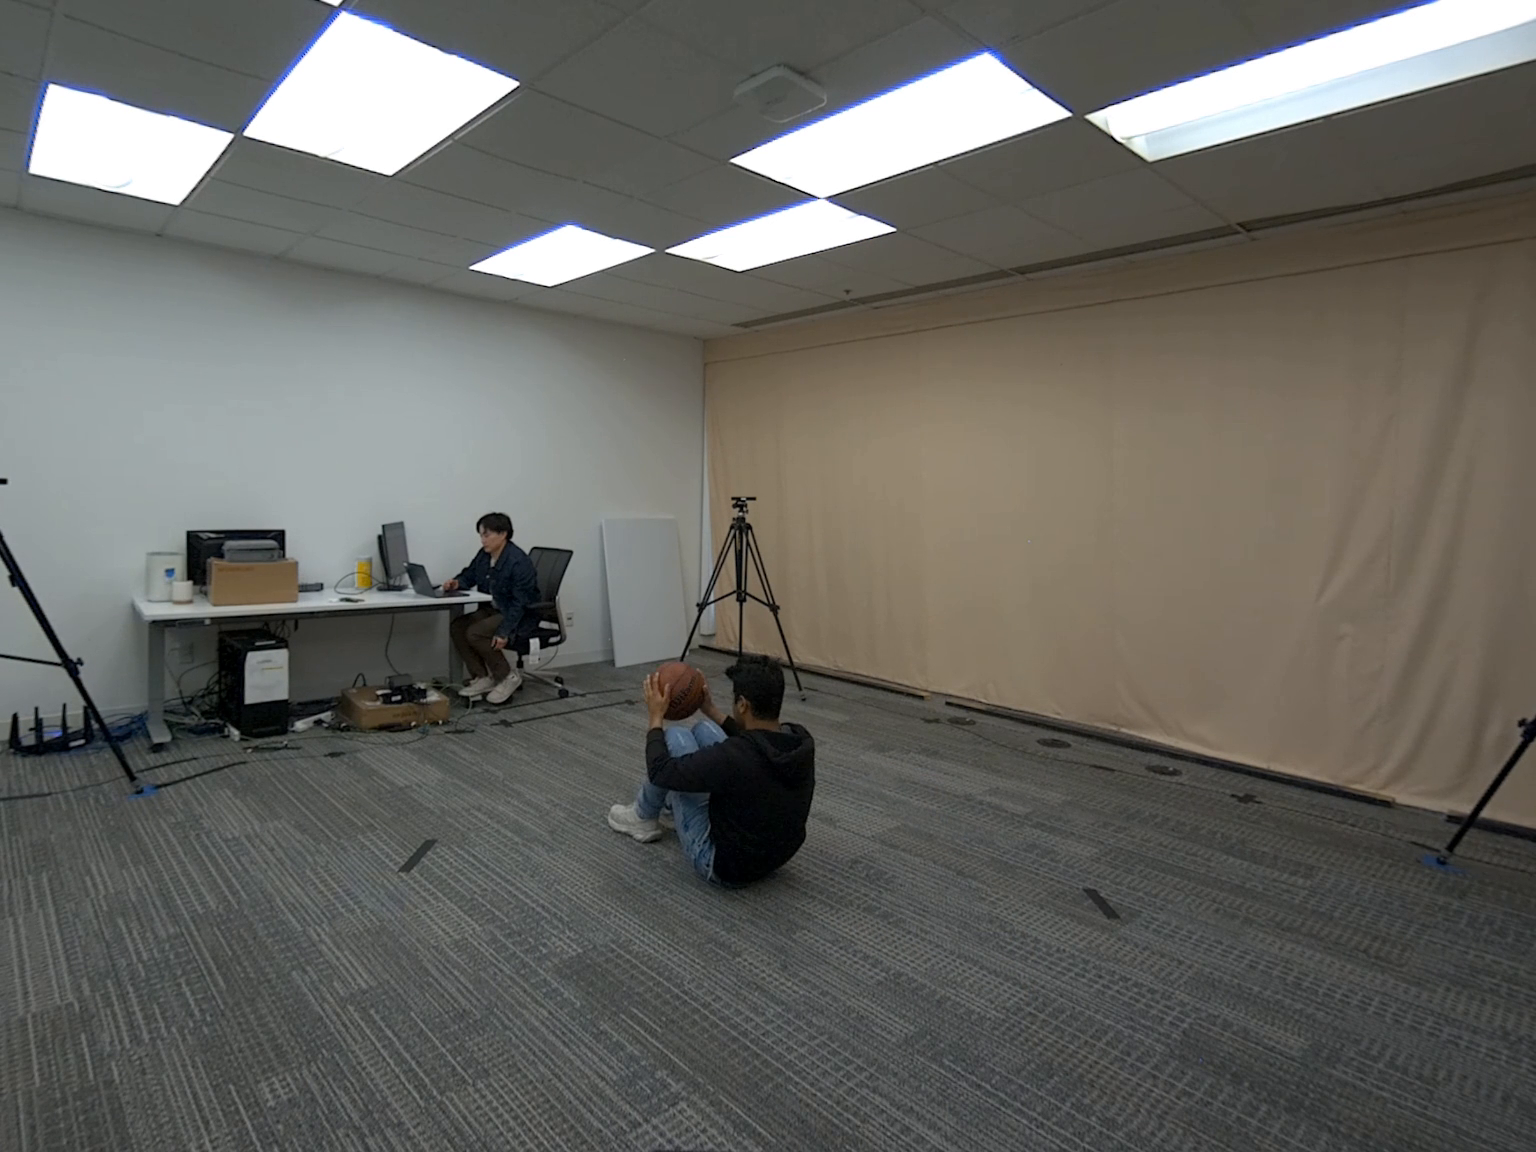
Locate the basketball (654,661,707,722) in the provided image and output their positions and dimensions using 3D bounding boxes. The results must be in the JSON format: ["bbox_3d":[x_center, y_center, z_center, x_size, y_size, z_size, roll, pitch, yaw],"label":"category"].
[{"bbox_3d":[-0.381,0.474,3.403,0.236,0.235,0.237,1,4,-1],"label":"basketball"}]
